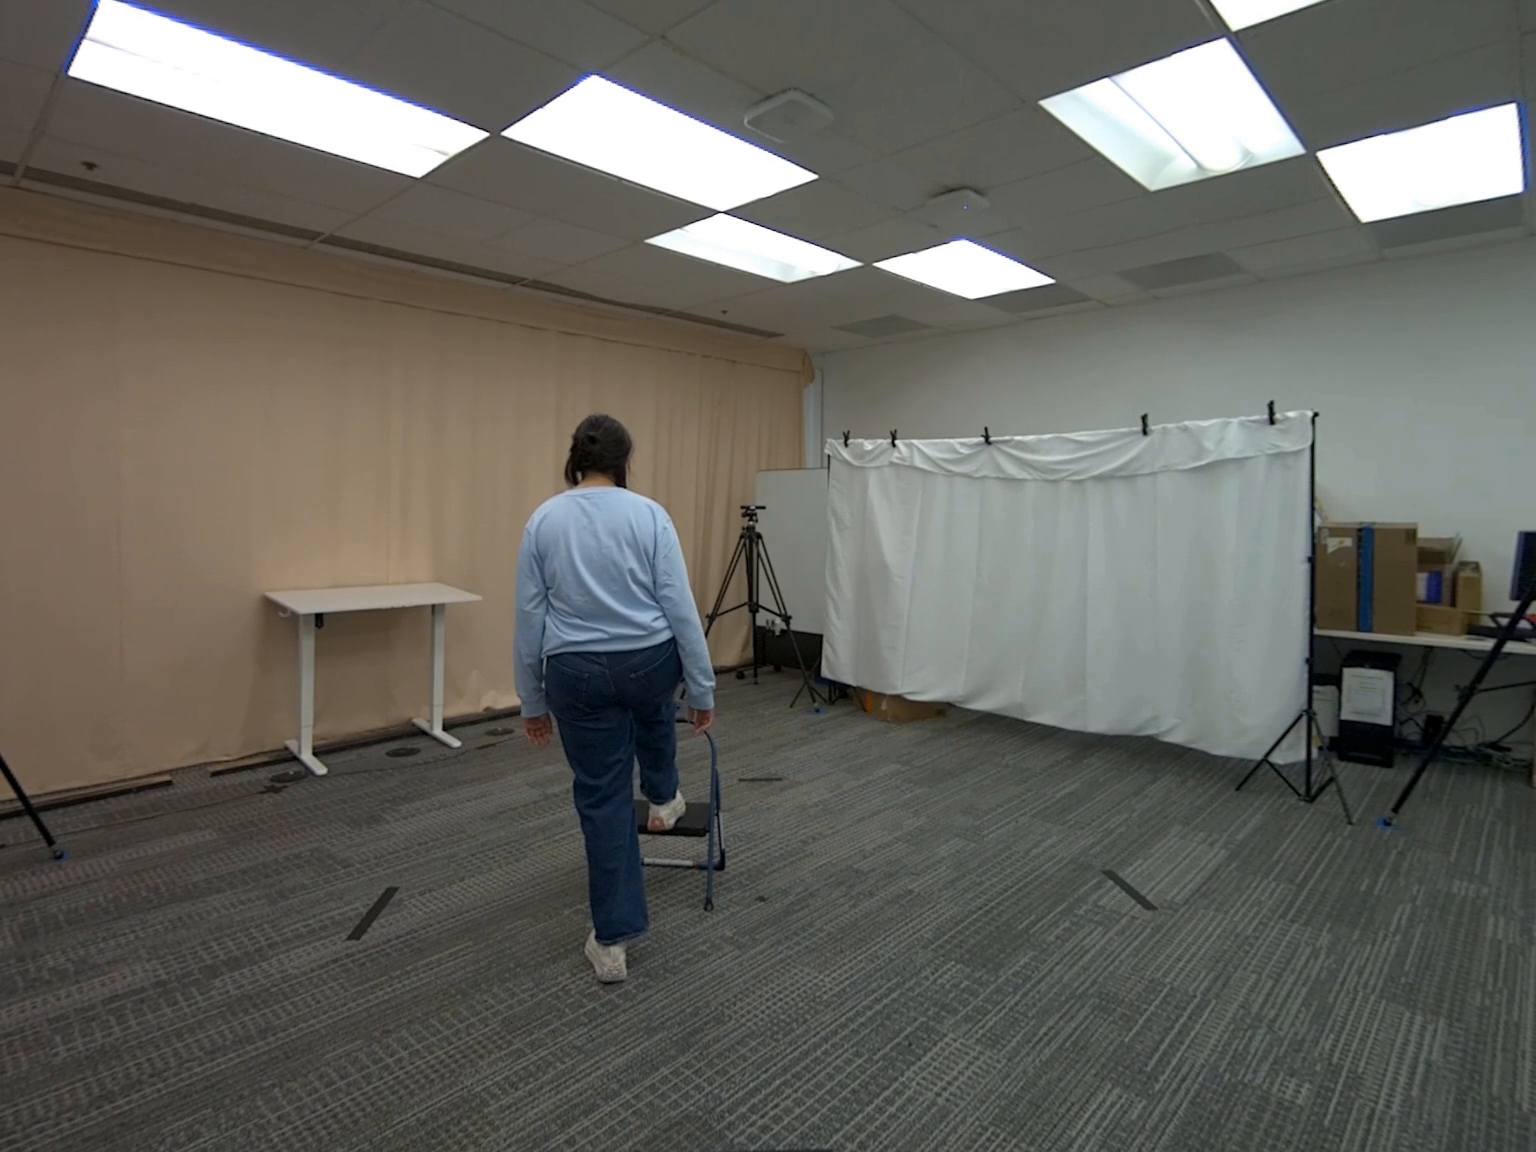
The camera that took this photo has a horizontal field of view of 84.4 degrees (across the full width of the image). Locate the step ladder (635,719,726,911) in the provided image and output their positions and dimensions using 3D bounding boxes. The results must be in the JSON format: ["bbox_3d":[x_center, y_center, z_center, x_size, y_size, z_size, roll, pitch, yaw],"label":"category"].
[{"bbox_3d":[-0.383,0.837,3.090,0.435,0.605,0.346,0,3,8],"label":"step ladder"}]
